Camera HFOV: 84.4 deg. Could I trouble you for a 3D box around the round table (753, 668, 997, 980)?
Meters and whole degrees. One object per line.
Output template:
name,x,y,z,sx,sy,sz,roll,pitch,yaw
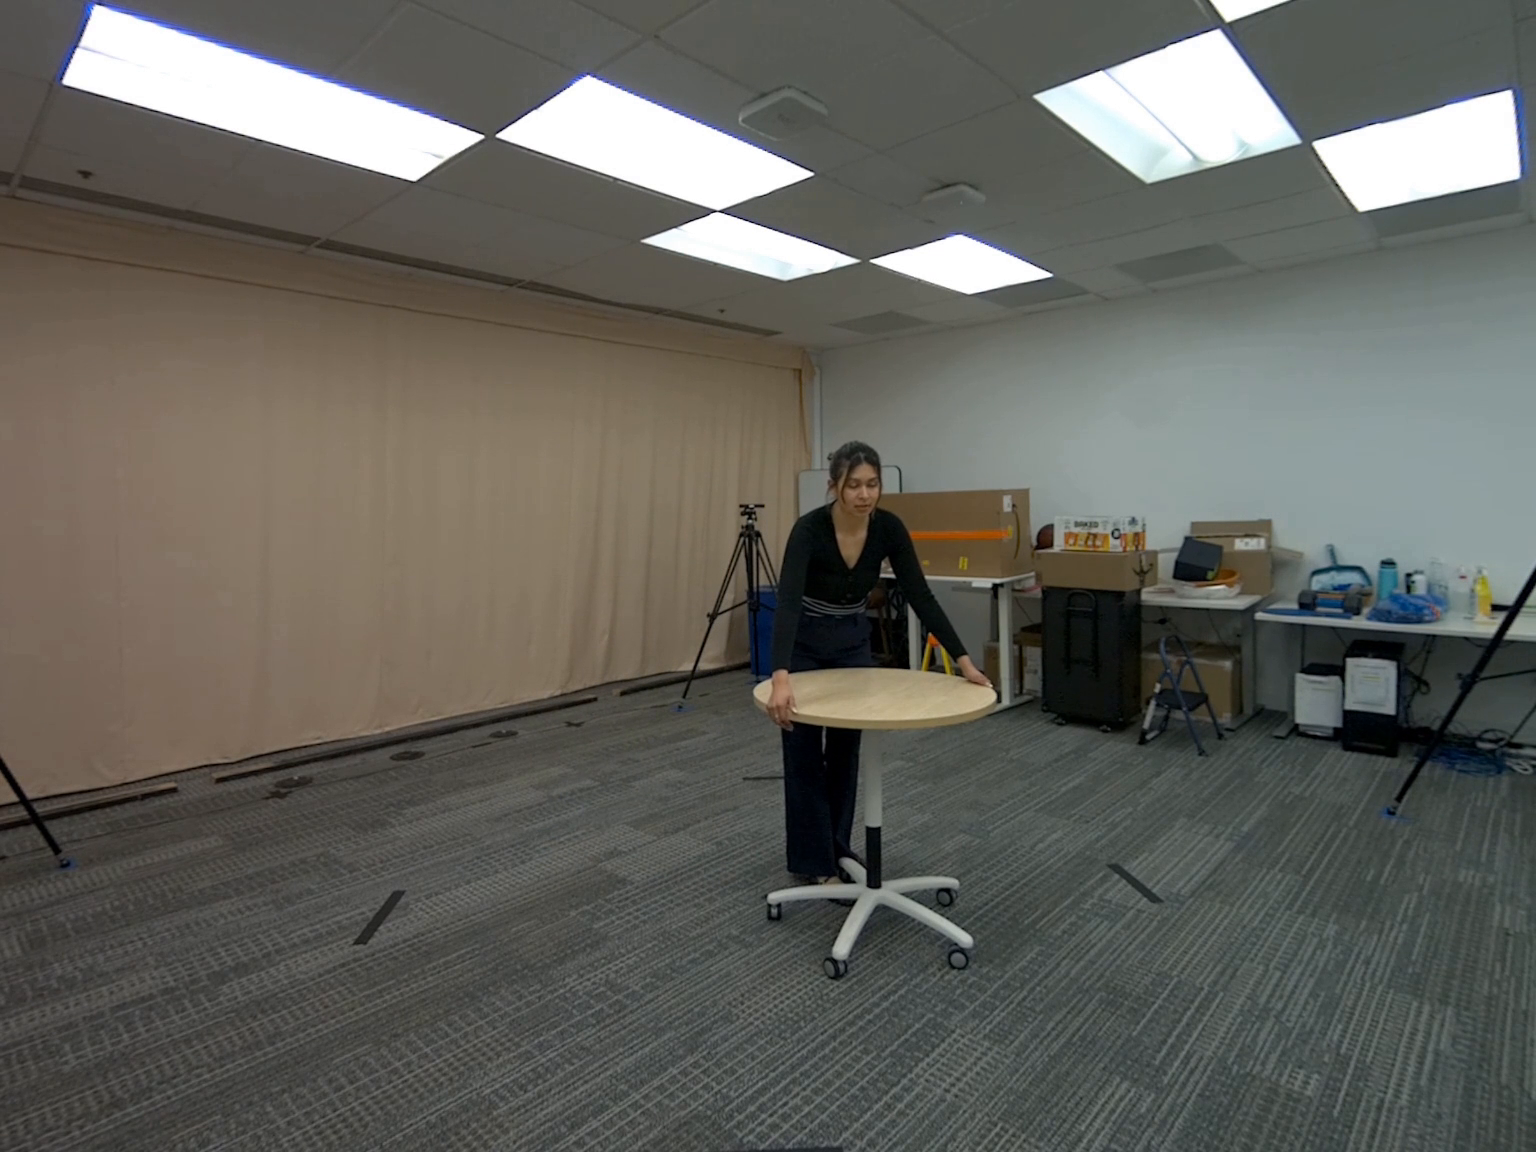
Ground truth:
round table,0.349,0.763,2.733,0.763,0.792,0.767,-1,4,-2
